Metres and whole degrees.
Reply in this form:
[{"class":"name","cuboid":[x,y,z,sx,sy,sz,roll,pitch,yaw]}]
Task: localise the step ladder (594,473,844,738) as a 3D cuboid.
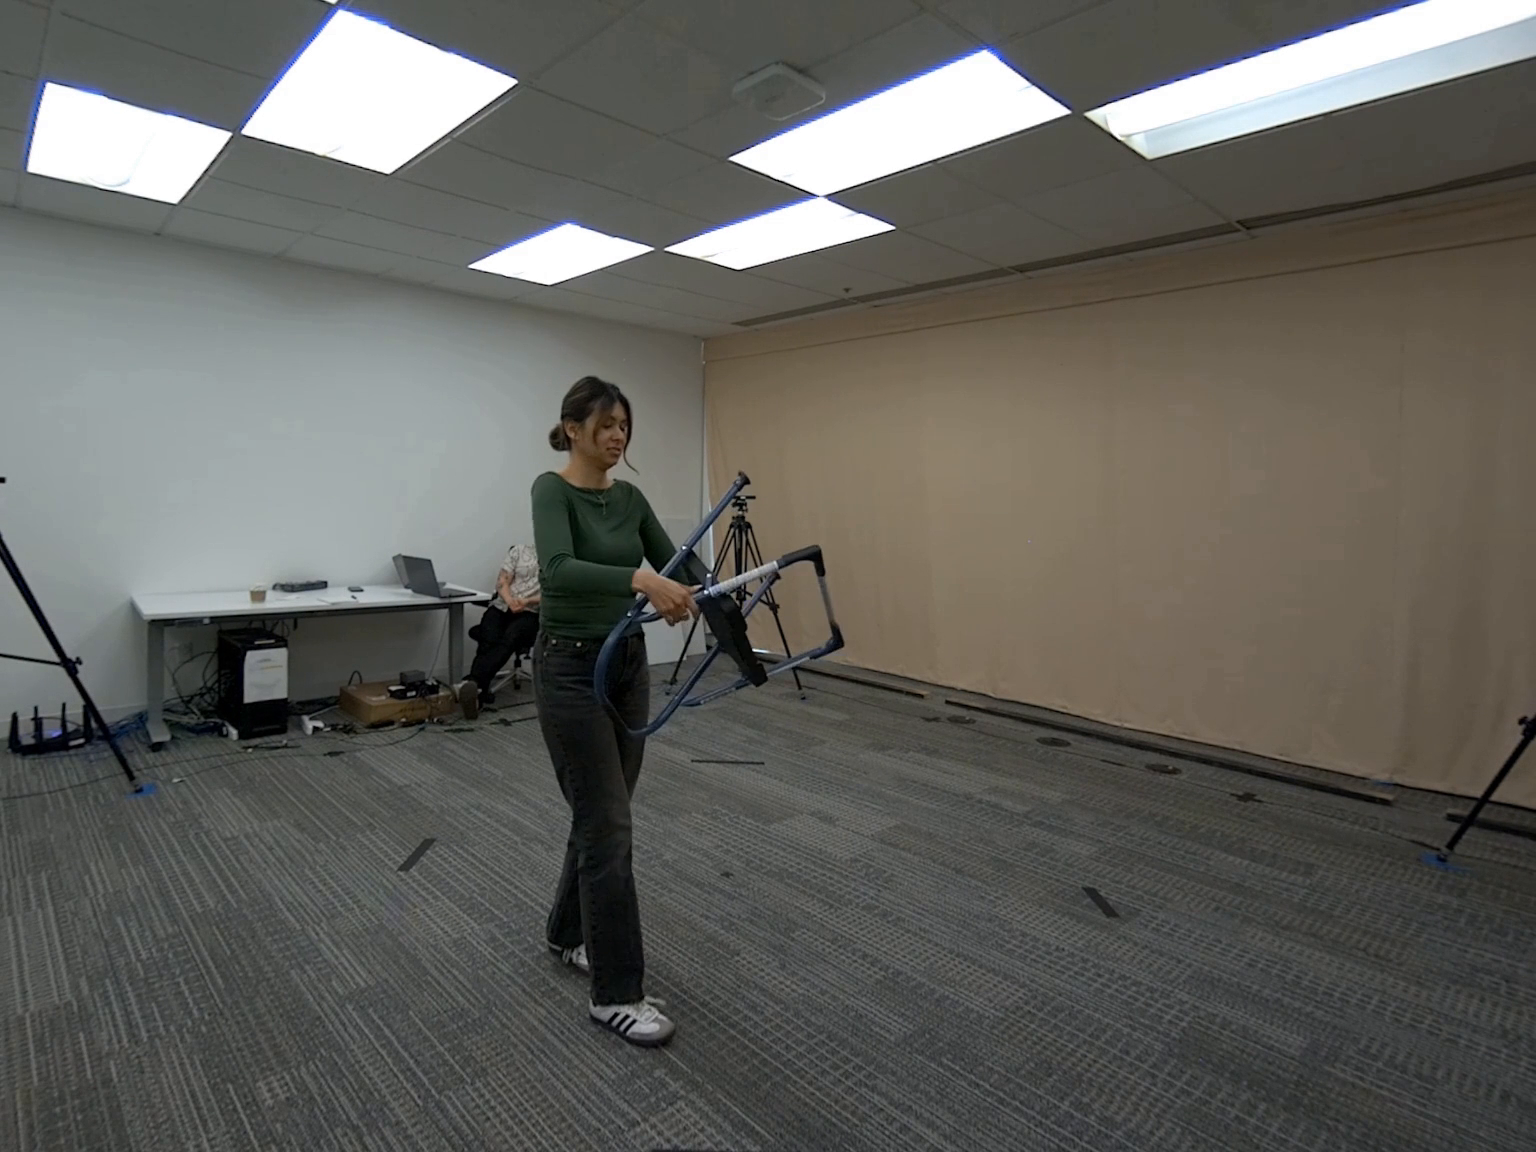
[{"class":"step ladder","cuboid":[-0.177,0.133,2.108,0.604,0.418,0.360,-33,51,-13]}]
